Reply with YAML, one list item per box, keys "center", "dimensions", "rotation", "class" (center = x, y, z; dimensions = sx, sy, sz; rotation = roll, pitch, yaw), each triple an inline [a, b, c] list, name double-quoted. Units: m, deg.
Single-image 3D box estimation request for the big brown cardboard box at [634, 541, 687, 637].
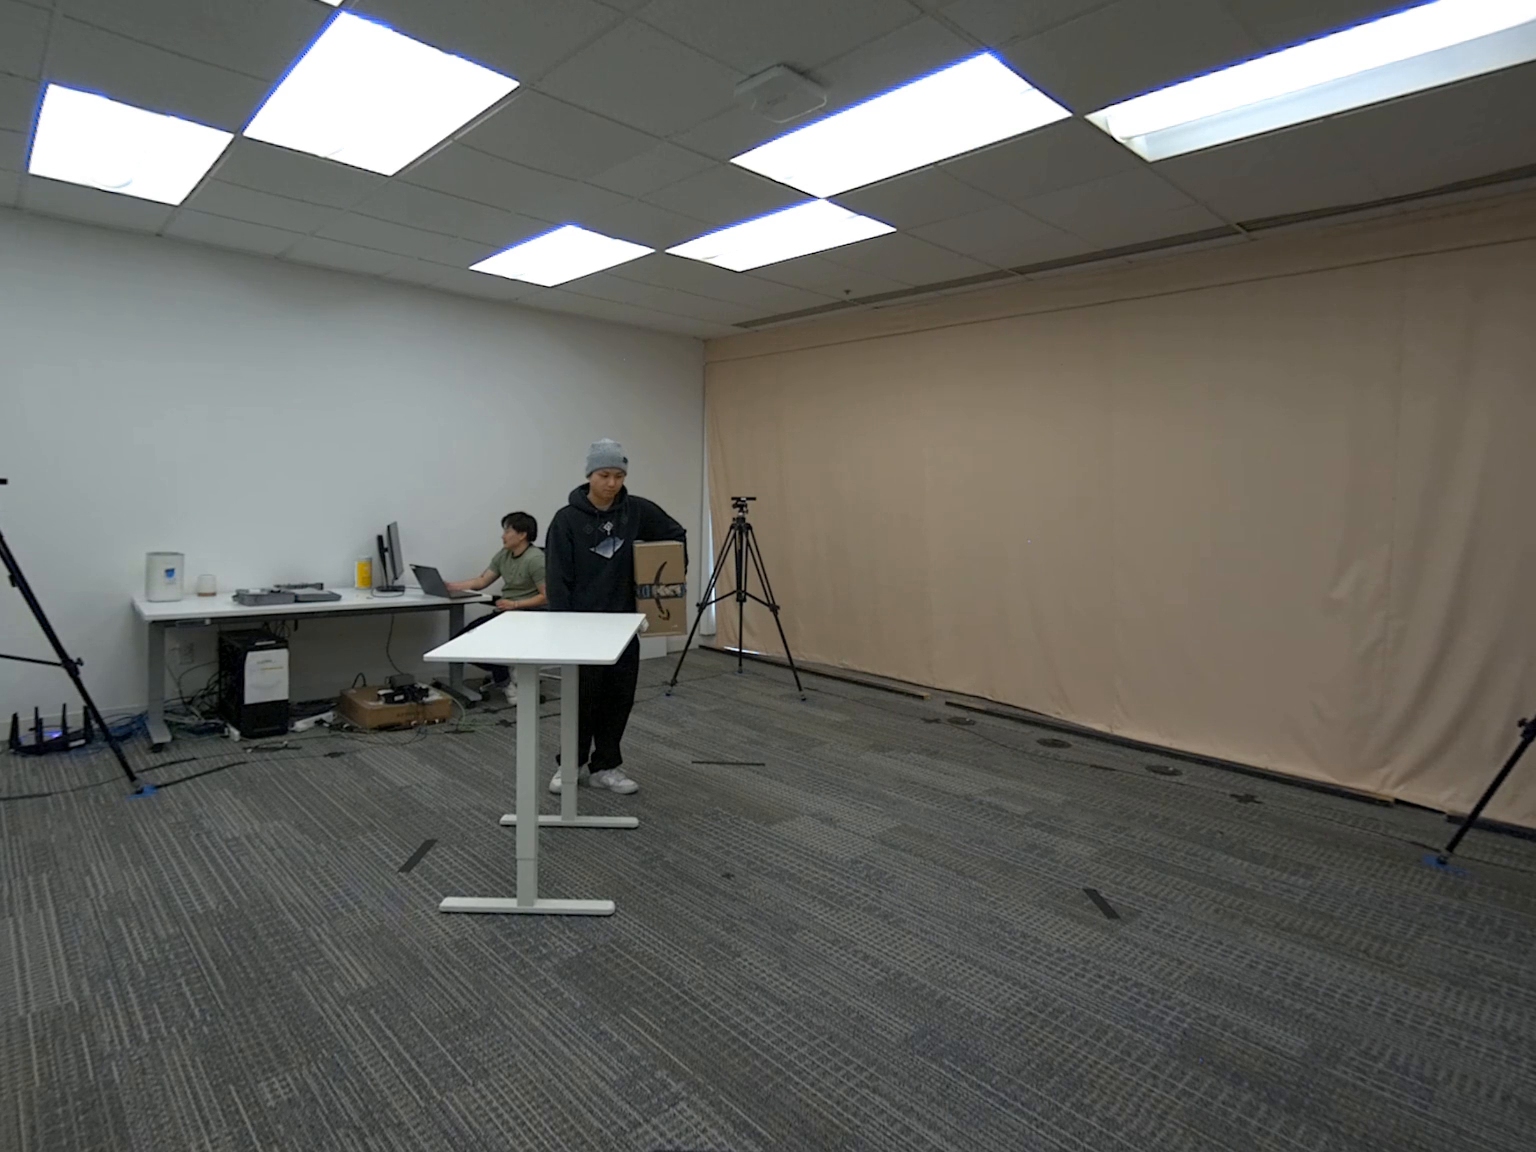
- center: [-0.542, 0.046, 4.056]
  dimensions: [0.231, 0.417, 0.595]
  rotation: [-3, 3, -13]
  class: "big brown cardboard box"
